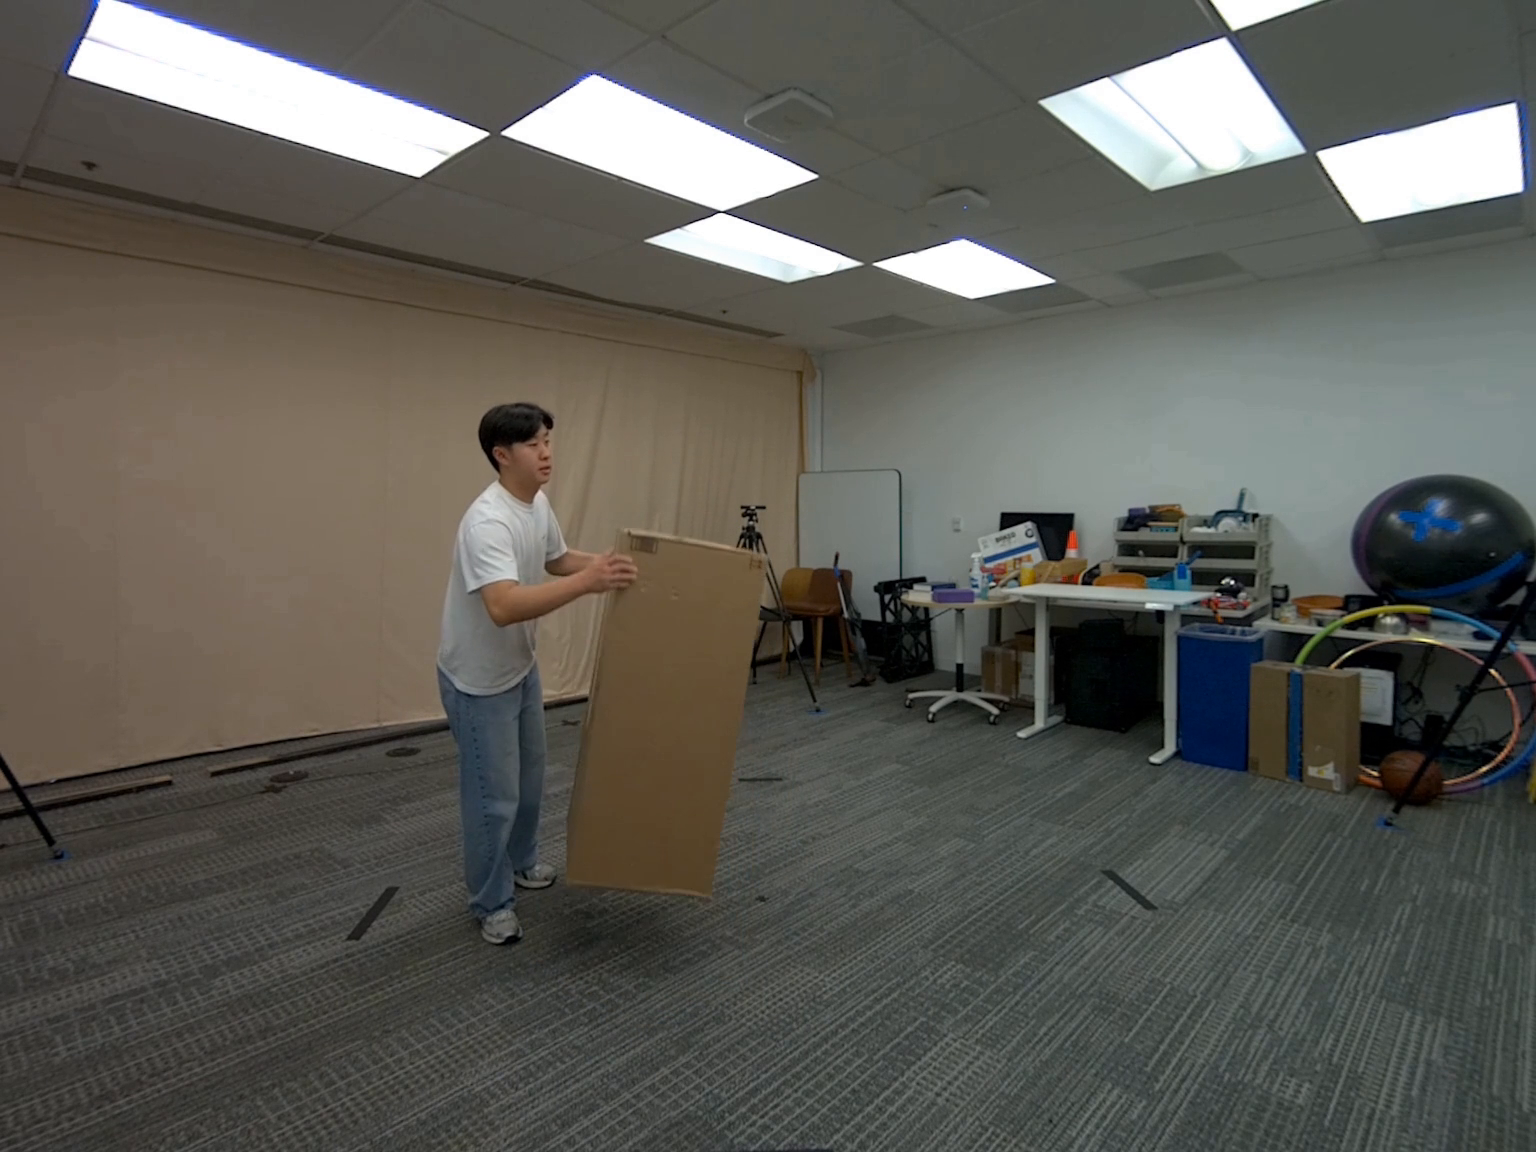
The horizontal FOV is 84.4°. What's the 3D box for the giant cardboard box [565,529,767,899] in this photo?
[{"bbox_3d":[-0.344,0.396,2.690,0.421,1.025,0.585,9,1,-11],"label":"giant cardboard box"}]
